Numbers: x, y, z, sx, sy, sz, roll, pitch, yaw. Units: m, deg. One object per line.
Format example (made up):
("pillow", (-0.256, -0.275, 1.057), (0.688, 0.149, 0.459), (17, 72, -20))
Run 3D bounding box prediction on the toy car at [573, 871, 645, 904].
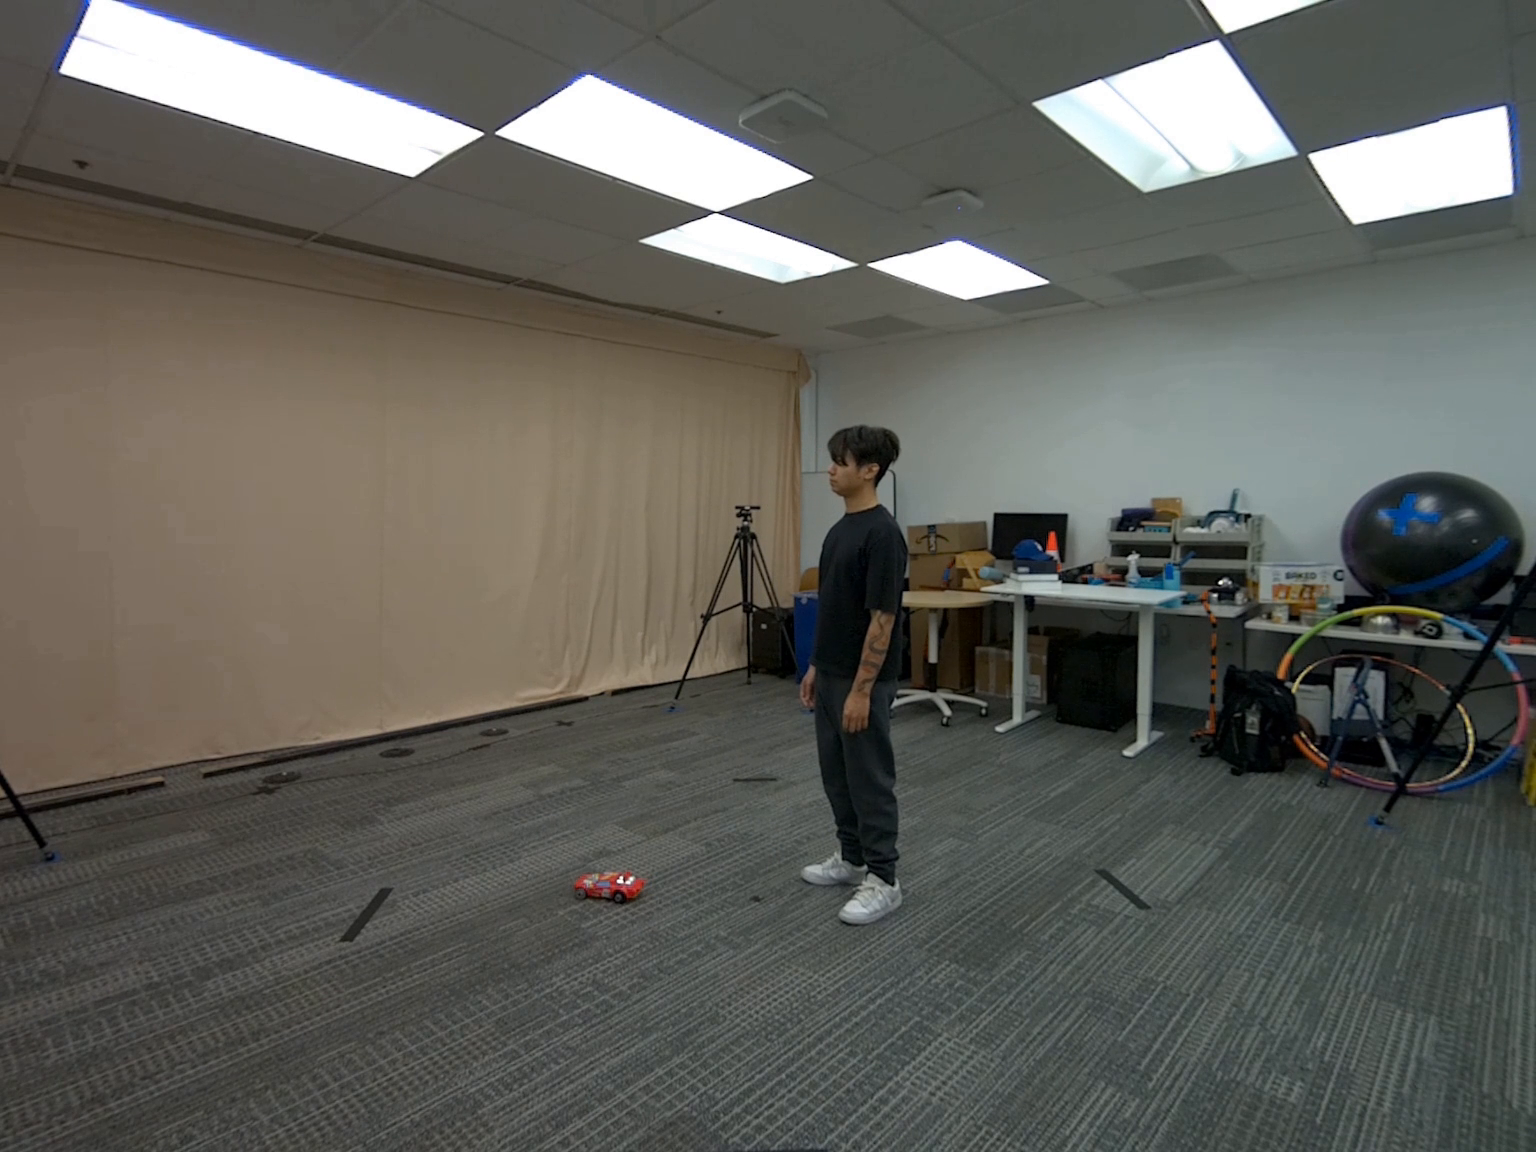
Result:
("toy car", (-0.573, 1.120, 3.017), (0.258, 0.083, 0.128), (-10, 3, 17))
